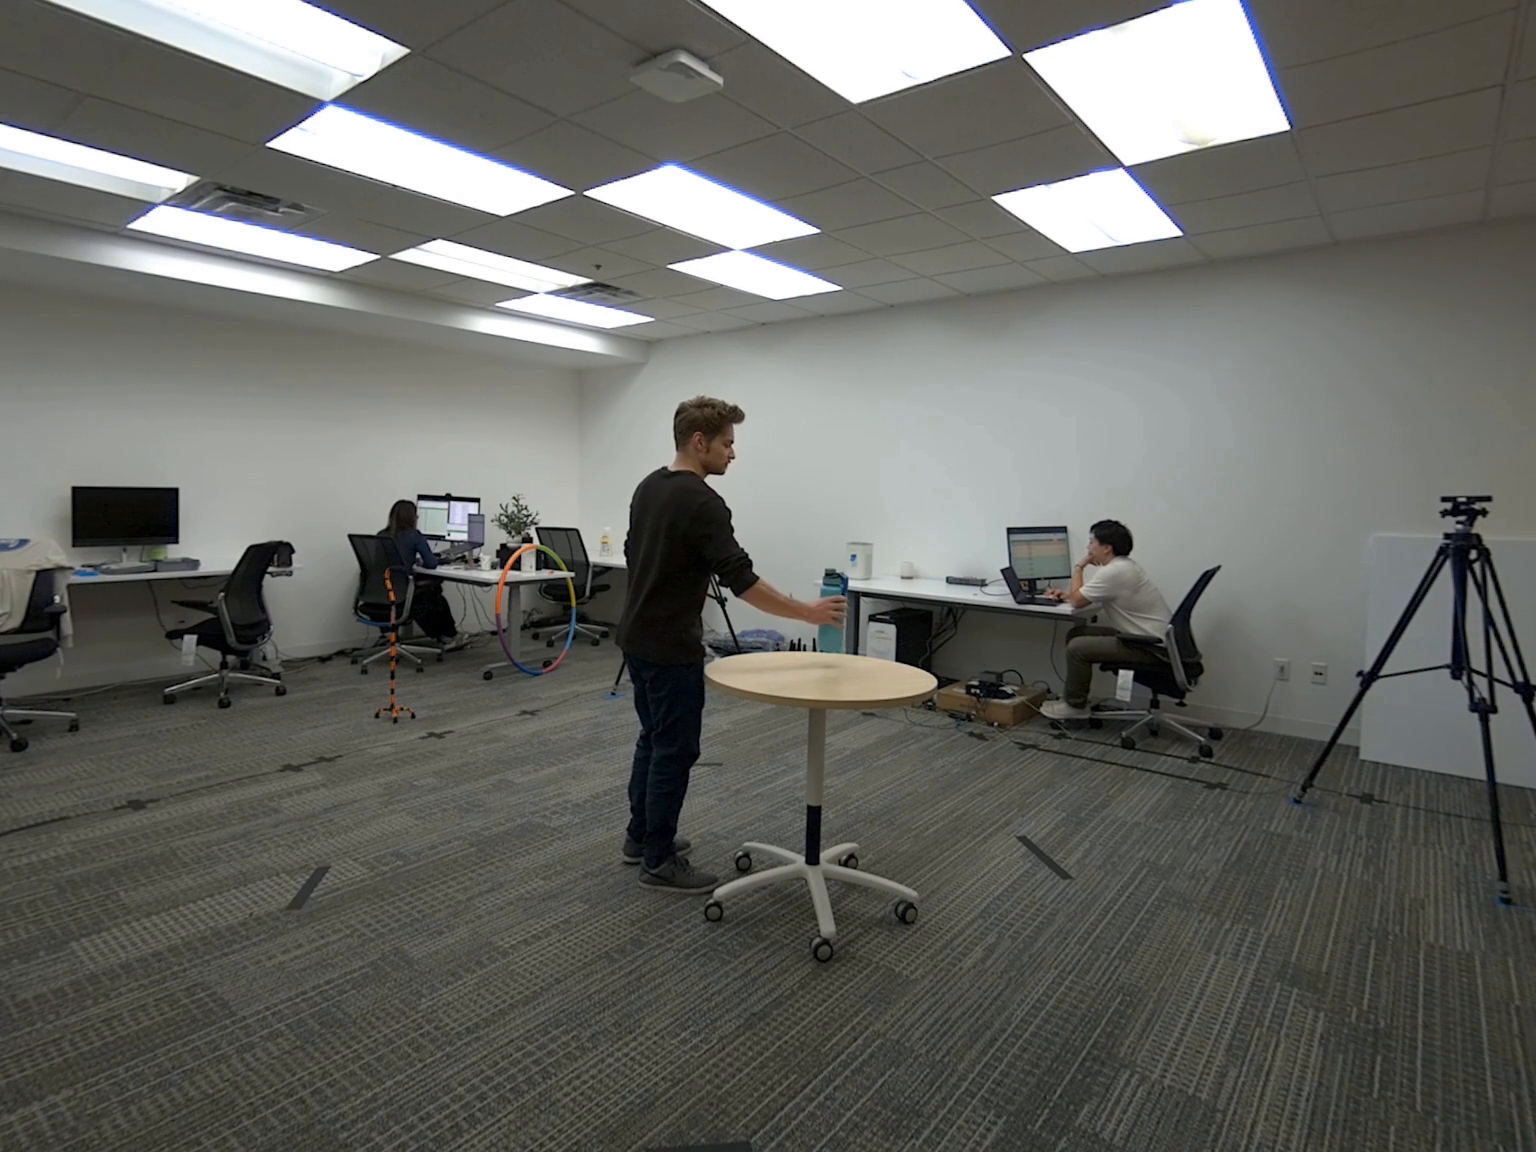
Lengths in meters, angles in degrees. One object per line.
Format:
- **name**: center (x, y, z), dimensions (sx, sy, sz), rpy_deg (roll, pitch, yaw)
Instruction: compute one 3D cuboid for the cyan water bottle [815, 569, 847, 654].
- **cyan water bottle**: center (0.218, 0.116, 2.941), dimensions (0.092, 0.282, 0.093), rpy_deg (4, 7, -2)
